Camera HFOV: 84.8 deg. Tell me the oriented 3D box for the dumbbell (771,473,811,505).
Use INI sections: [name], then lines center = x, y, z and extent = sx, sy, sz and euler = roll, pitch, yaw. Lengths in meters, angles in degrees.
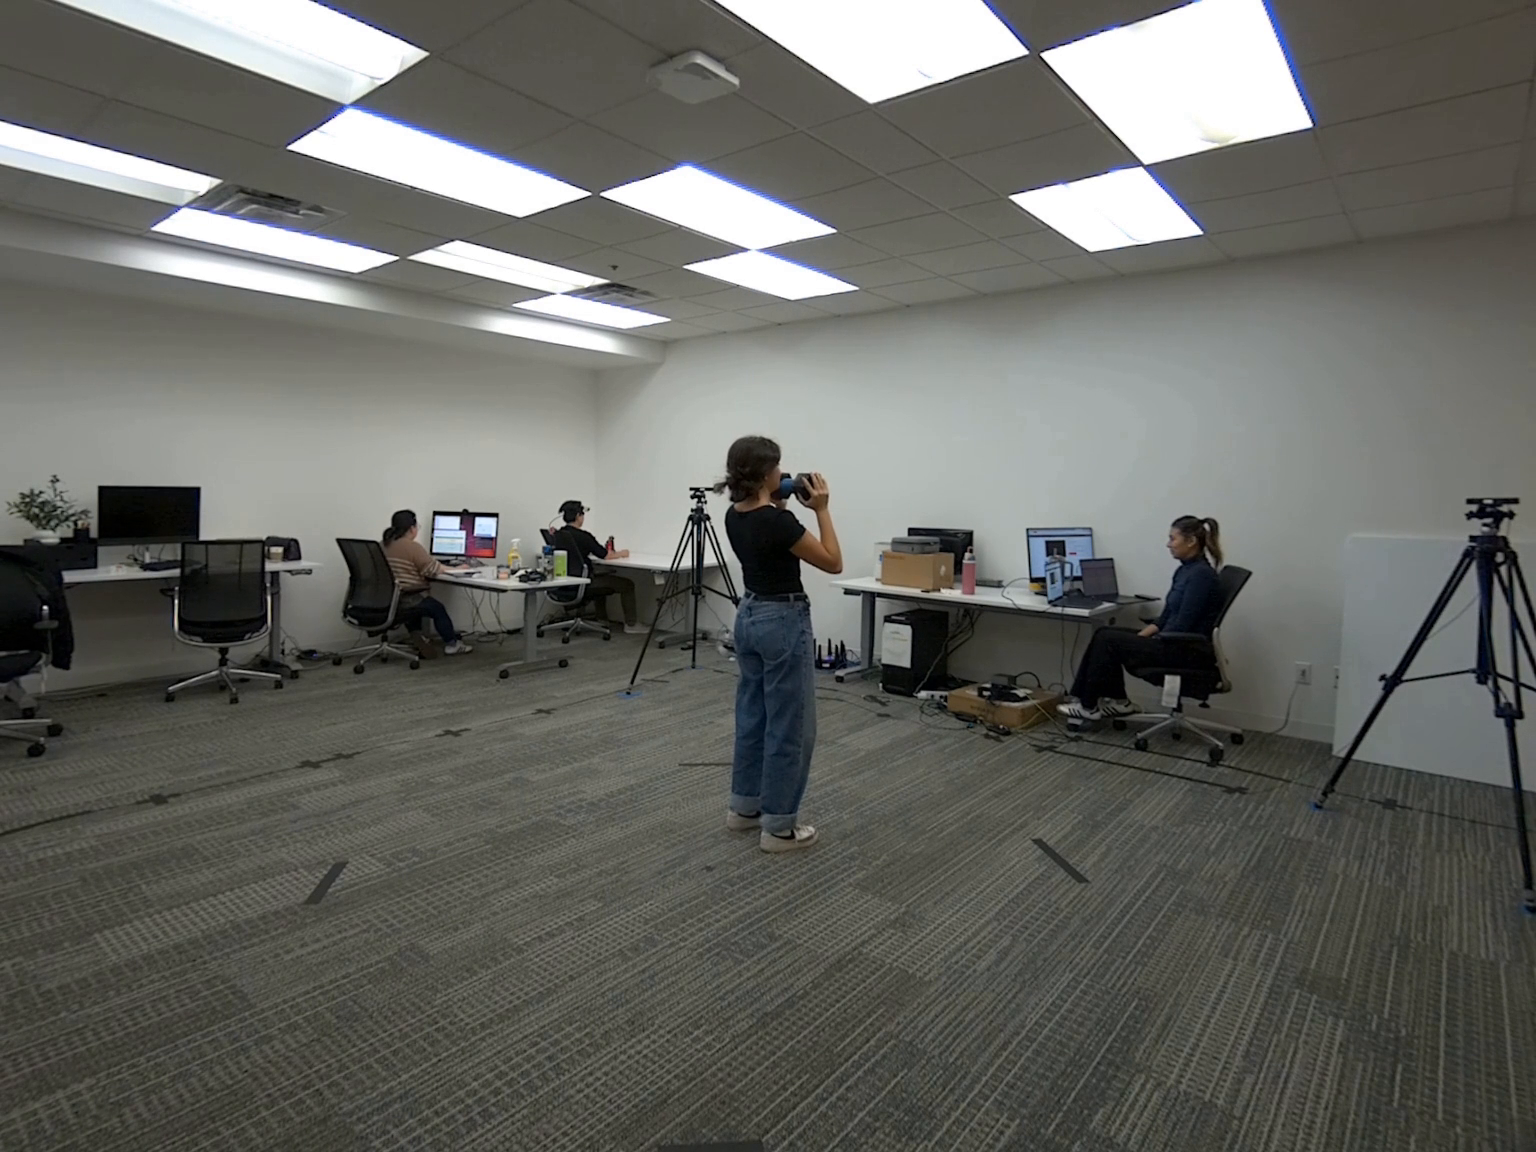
[dumbbell]
center = 0.088, -0.365, 3.366
extent = 0.105, 0.123, 0.302
euler = 32, -11, -27
